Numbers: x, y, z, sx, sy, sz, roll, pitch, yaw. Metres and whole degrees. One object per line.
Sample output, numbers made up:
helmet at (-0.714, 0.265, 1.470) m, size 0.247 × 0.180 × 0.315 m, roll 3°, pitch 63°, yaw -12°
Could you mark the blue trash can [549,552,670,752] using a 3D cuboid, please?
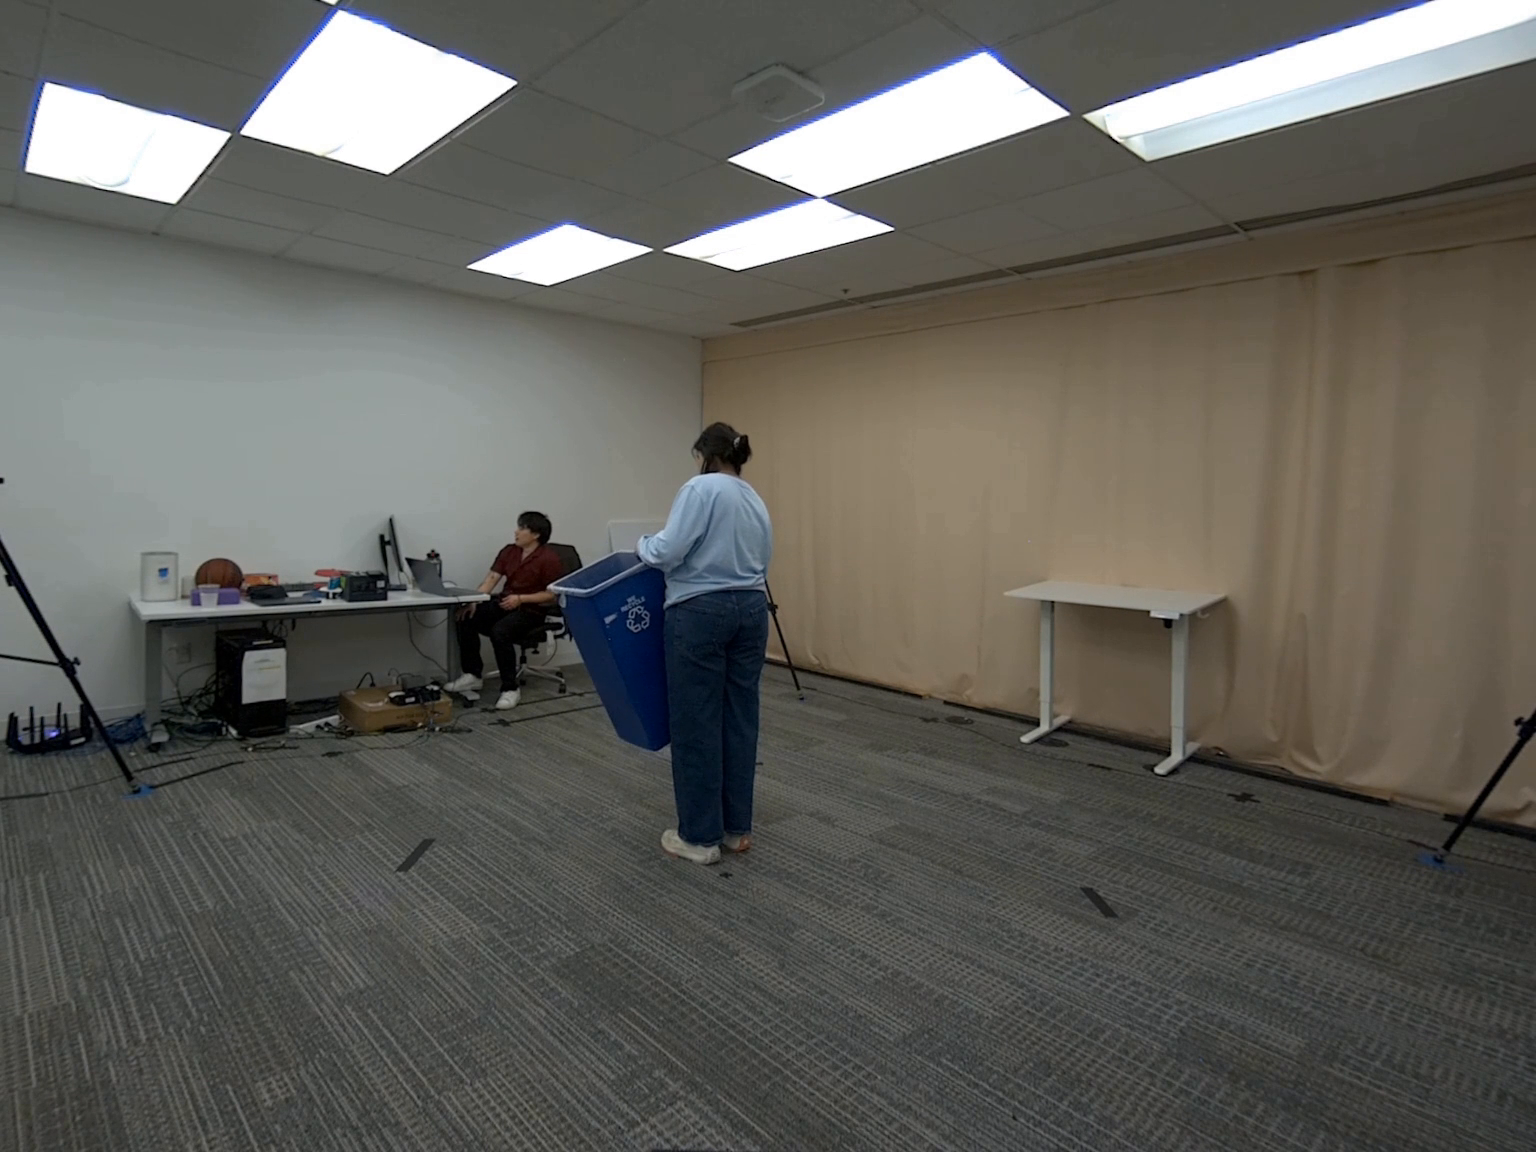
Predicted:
blue trash can at (-0.538, 0.294, 3.398) m, size 0.371 × 0.703 × 0.387 m, roll -30°, pitch 20°, yaw -34°
